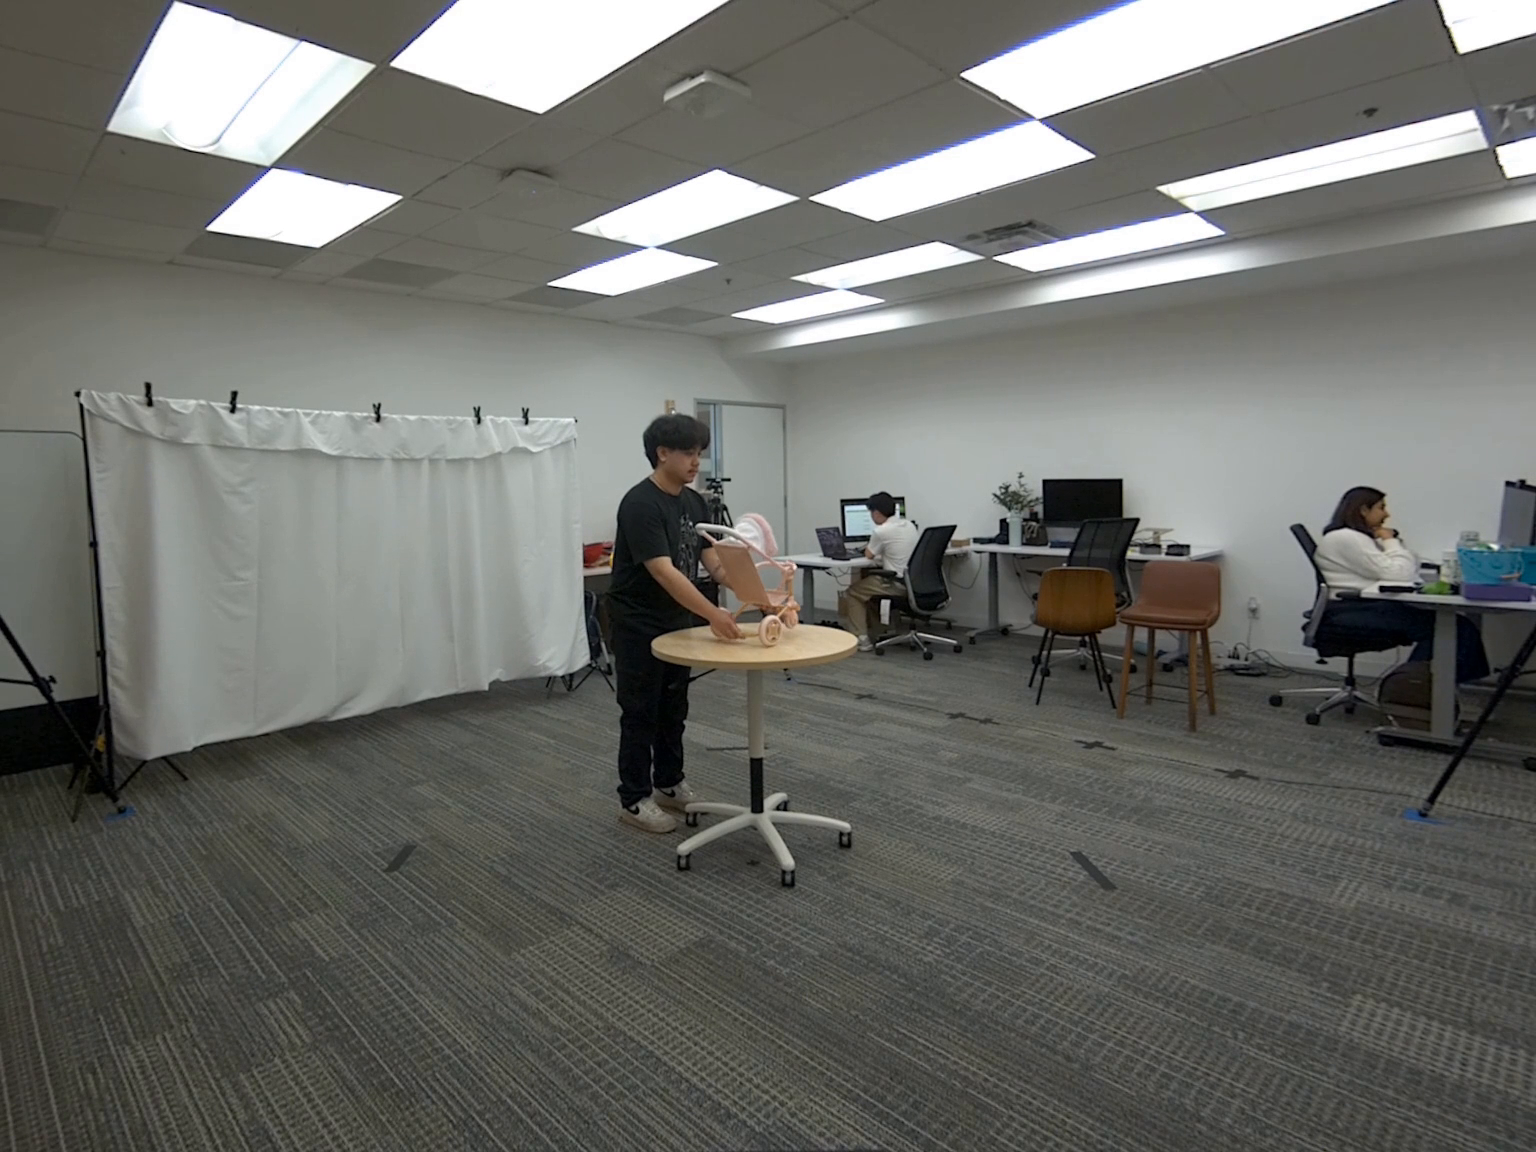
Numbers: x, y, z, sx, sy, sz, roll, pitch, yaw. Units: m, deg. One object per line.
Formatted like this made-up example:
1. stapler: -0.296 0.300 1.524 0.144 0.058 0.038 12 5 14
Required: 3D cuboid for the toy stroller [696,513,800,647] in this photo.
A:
1. toy stroller: -0.043 0.002 3.164 0.336 0.526 0.290 -26 20 -39
